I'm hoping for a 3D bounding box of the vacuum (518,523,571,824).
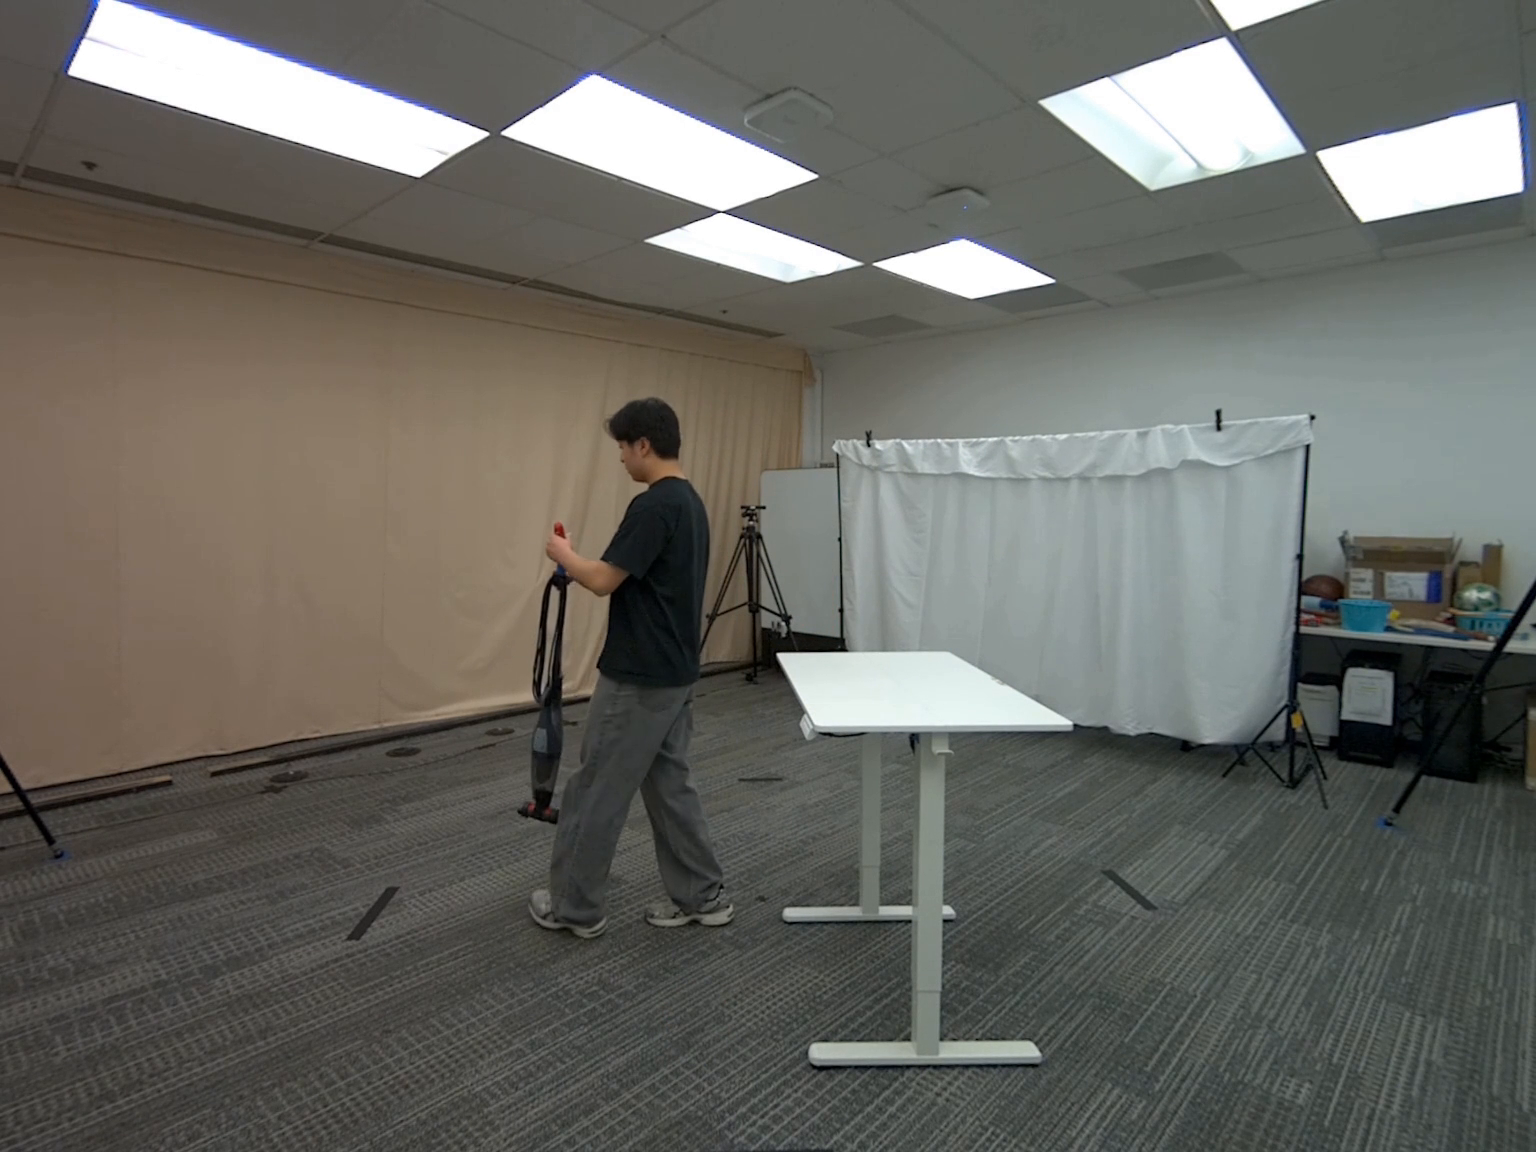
[{"bbox_3d":[-0.746,0.353,2.883,0.254,1.043,0.144,6,10,6],"label":"vacuum"}]
